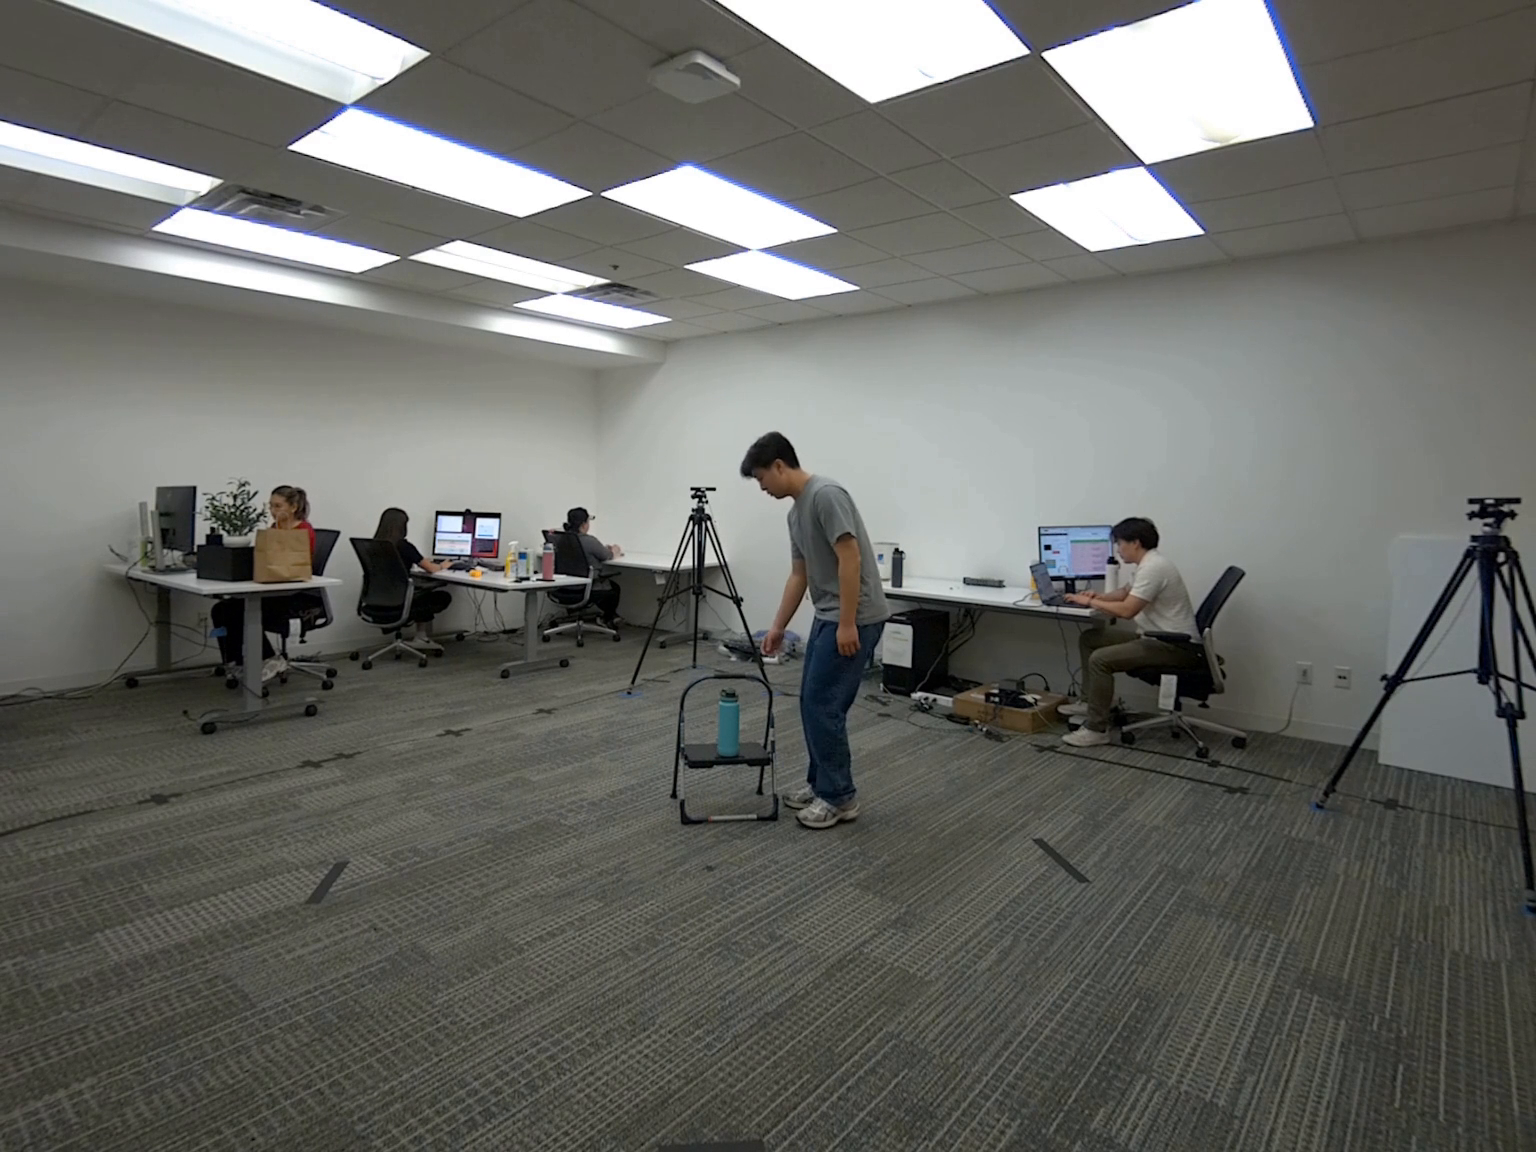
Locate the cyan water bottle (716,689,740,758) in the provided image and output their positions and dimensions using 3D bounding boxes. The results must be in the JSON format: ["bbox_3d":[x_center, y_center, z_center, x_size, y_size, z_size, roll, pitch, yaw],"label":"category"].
[{"bbox_3d":[-0.168,0.621,3.634,0.092,0.283,0.092,7,0,-2],"label":"cyan water bottle"}]
